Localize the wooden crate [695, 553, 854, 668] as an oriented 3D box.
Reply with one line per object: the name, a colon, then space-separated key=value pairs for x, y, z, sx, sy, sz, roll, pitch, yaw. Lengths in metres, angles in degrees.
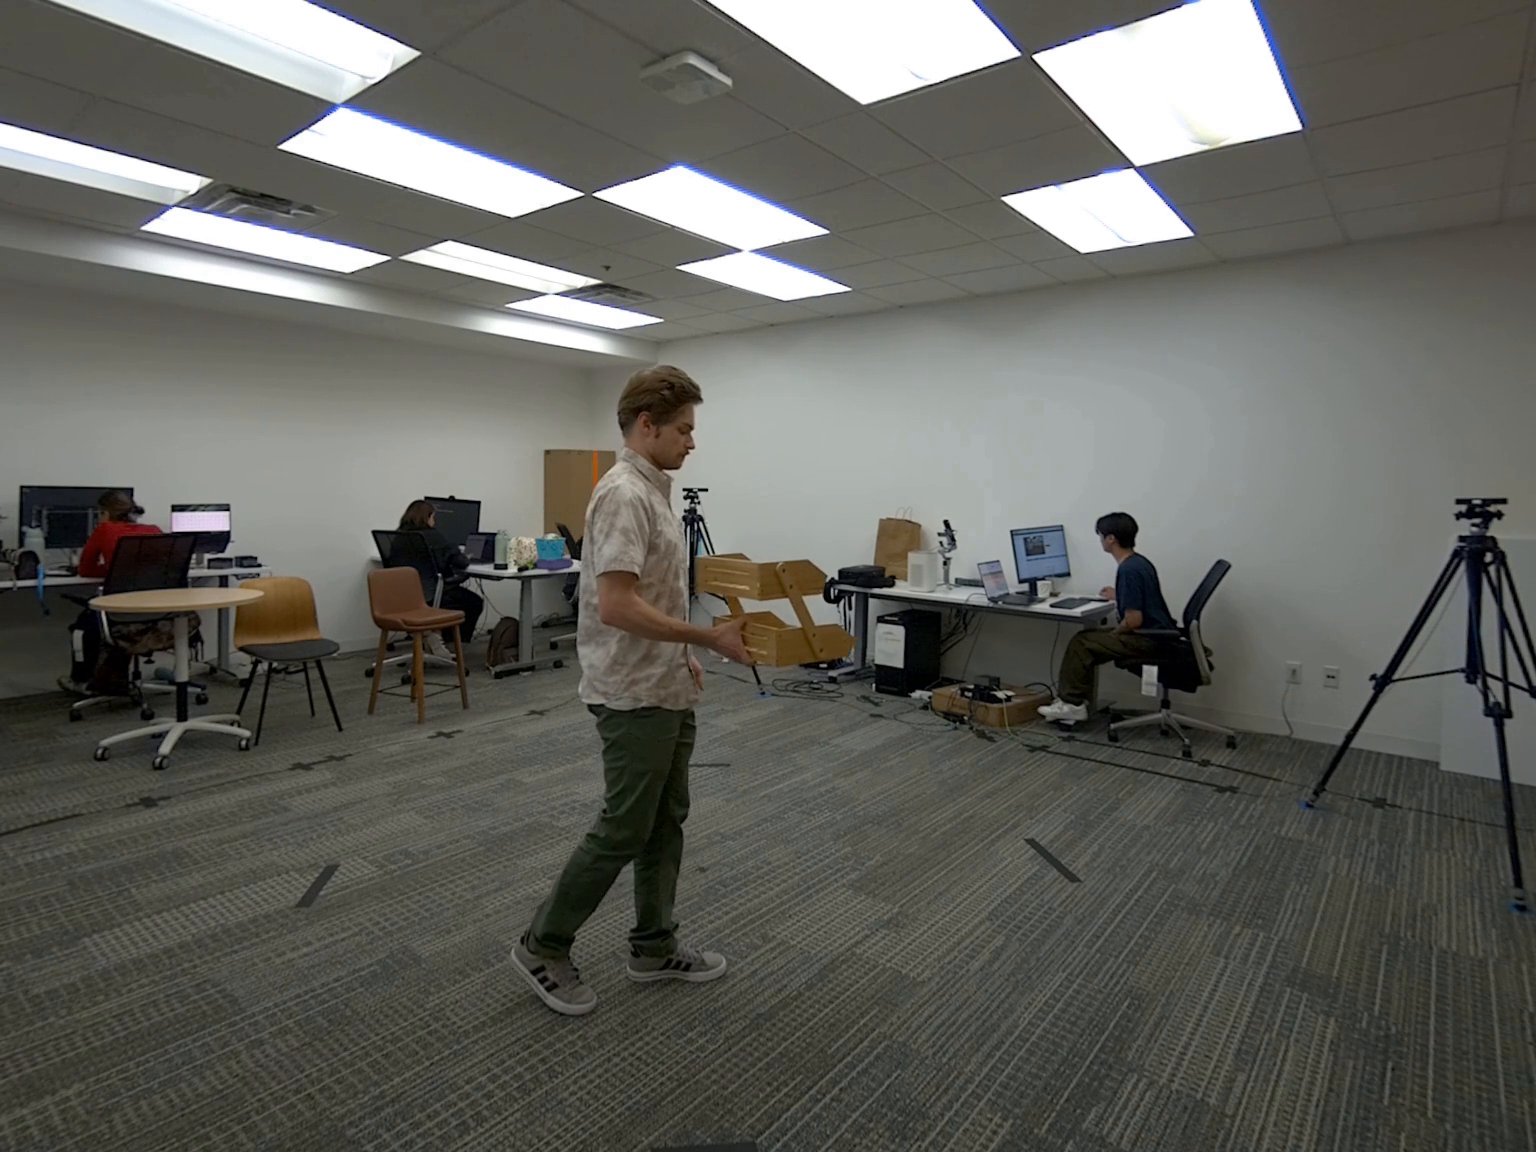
wooden crate: x=0.007 y=0.073 z=2.244 sx=0.294 sy=0.272 sz=0.334 roll=-4 pitch=5 yaw=-35
